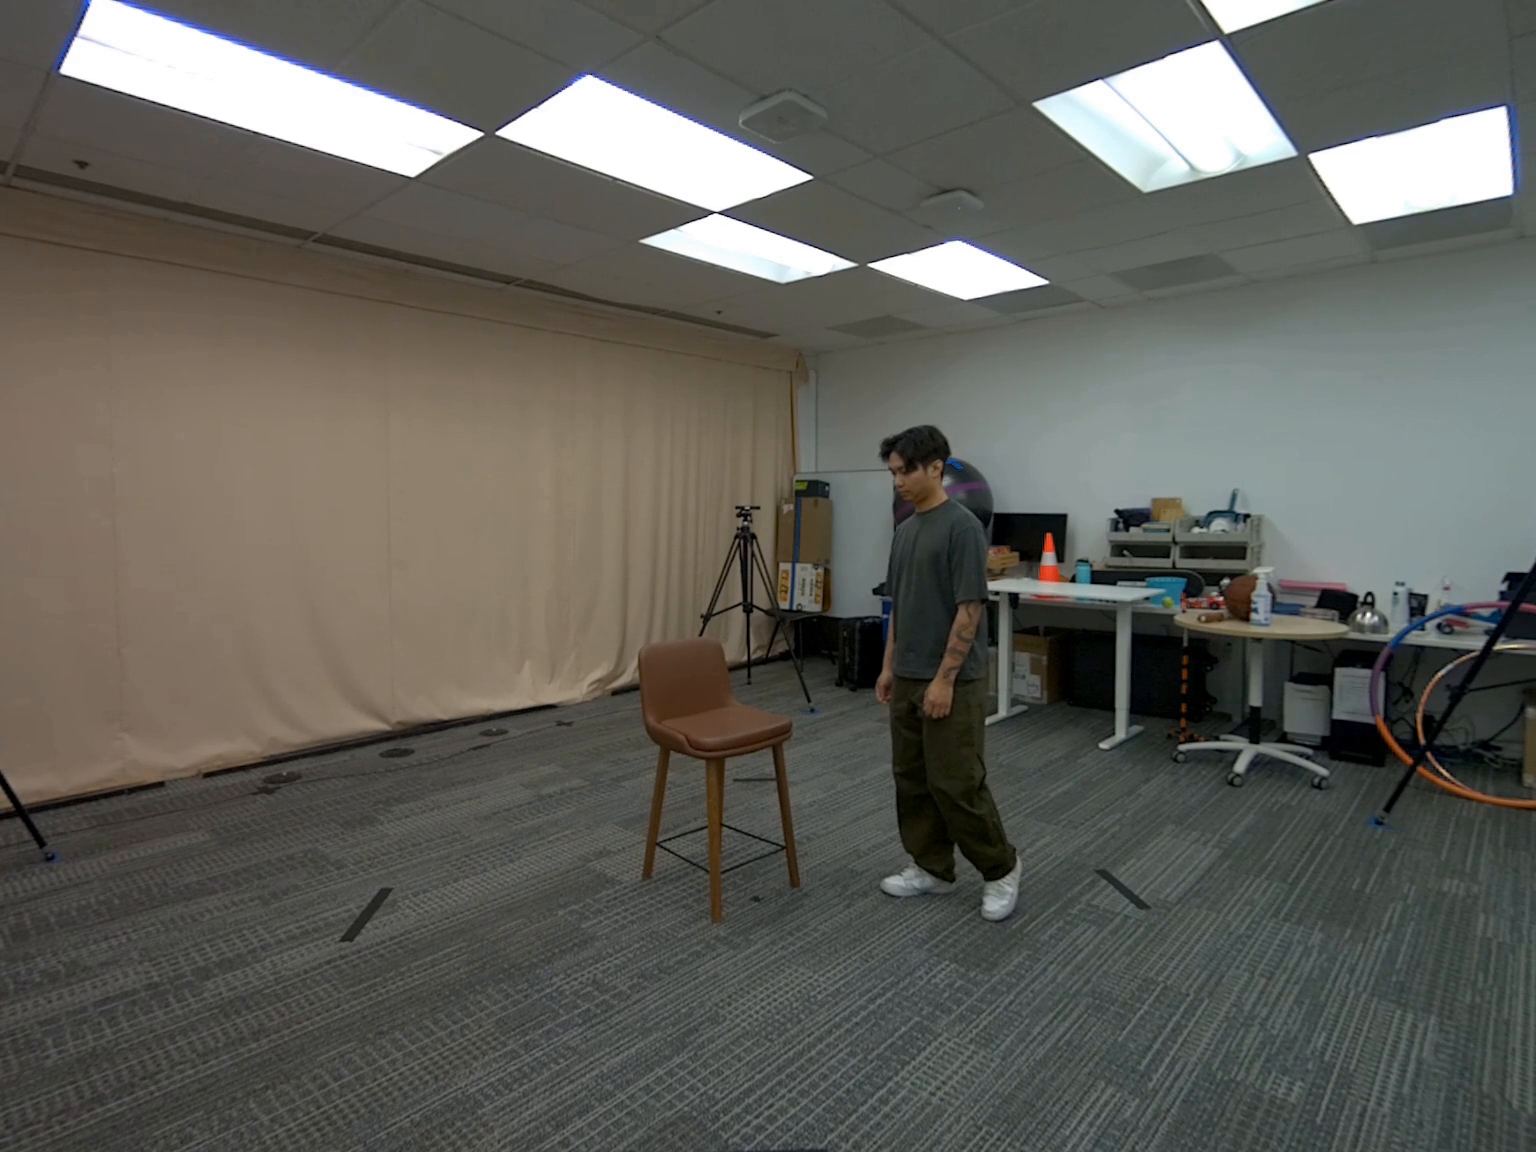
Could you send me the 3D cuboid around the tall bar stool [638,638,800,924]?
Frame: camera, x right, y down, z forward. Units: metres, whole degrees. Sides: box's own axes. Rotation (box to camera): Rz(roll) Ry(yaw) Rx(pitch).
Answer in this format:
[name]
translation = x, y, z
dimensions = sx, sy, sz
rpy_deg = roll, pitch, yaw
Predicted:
[tall bar stool]
translation = -0.188, 0.703, 3.094
dimensions = 0.442, 0.889, 0.483
rpy_deg = -3, 2, -42
